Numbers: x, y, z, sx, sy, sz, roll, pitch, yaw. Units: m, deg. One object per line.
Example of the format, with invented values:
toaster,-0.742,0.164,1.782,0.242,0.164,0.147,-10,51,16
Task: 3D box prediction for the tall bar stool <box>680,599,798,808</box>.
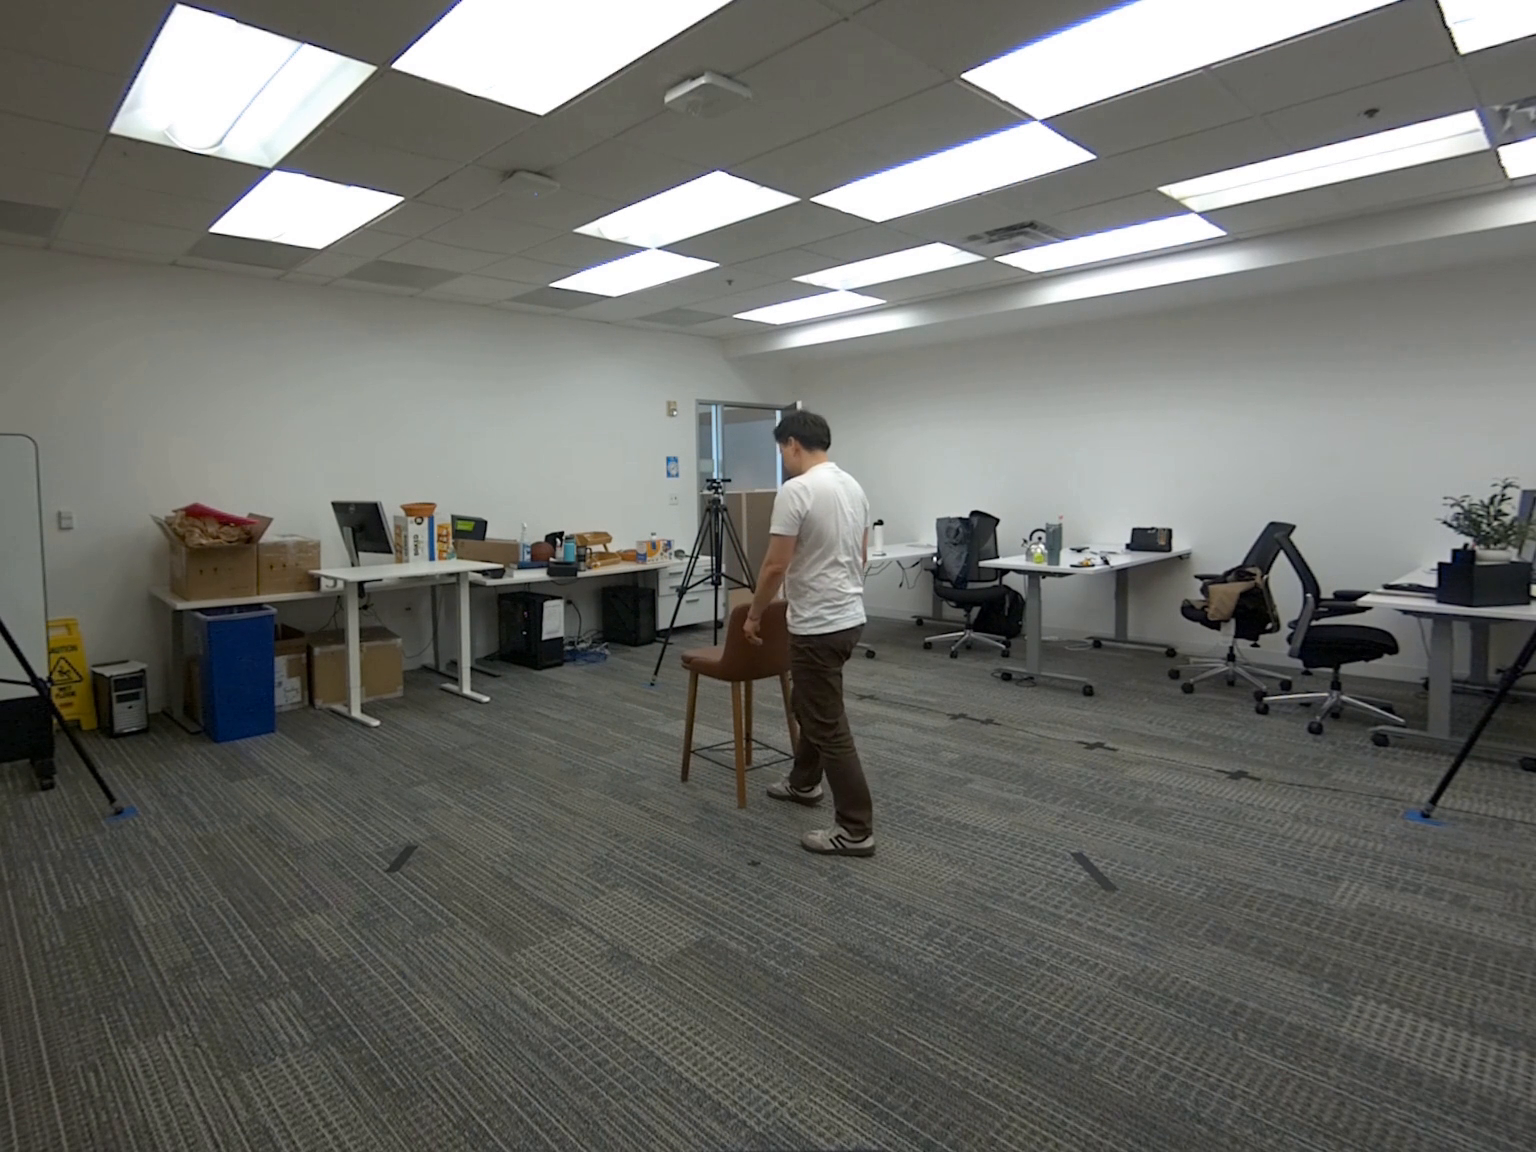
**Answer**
tall bar stool,-0.110,0.520,3.879,0.444,0.885,0.482,-3,7,-37
